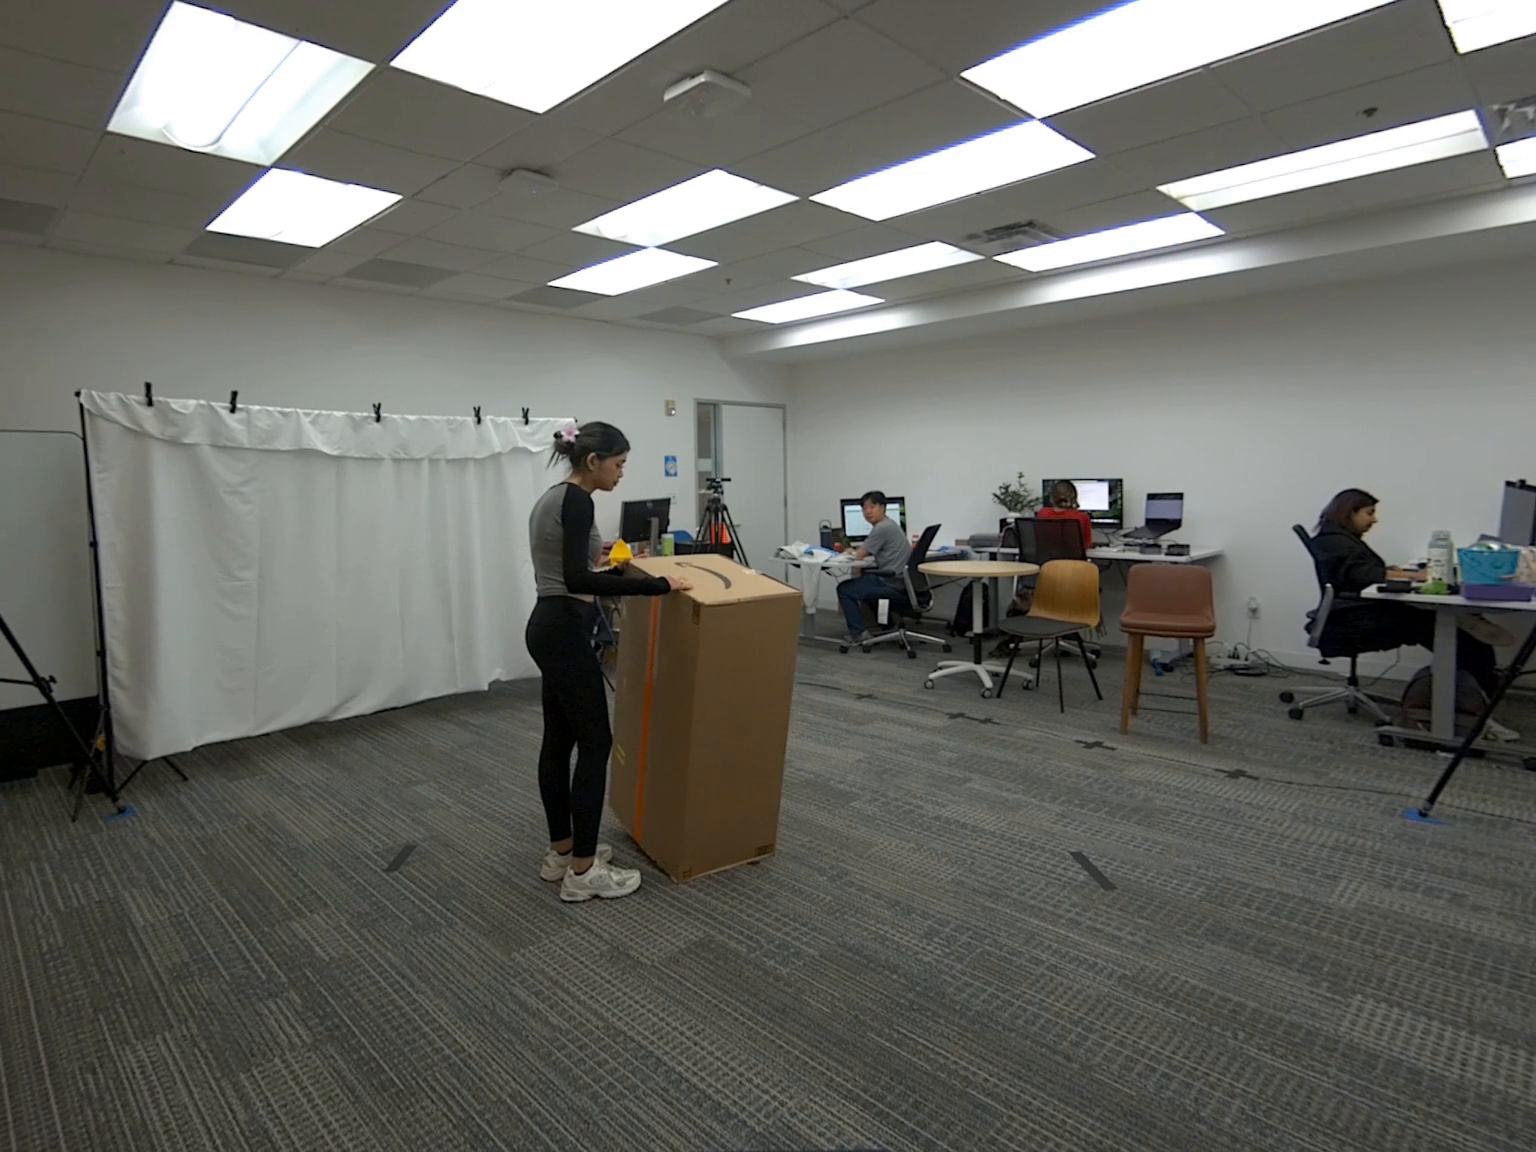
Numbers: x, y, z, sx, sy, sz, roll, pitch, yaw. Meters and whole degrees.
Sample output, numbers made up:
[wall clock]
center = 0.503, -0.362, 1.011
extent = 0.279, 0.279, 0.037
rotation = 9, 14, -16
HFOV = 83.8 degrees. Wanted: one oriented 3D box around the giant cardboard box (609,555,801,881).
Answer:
[giant cardboard box]
center = -0.259, 0.491, 3.193
extent = 0.435, 1.017, 0.605
rotation = -3, 15, -35
